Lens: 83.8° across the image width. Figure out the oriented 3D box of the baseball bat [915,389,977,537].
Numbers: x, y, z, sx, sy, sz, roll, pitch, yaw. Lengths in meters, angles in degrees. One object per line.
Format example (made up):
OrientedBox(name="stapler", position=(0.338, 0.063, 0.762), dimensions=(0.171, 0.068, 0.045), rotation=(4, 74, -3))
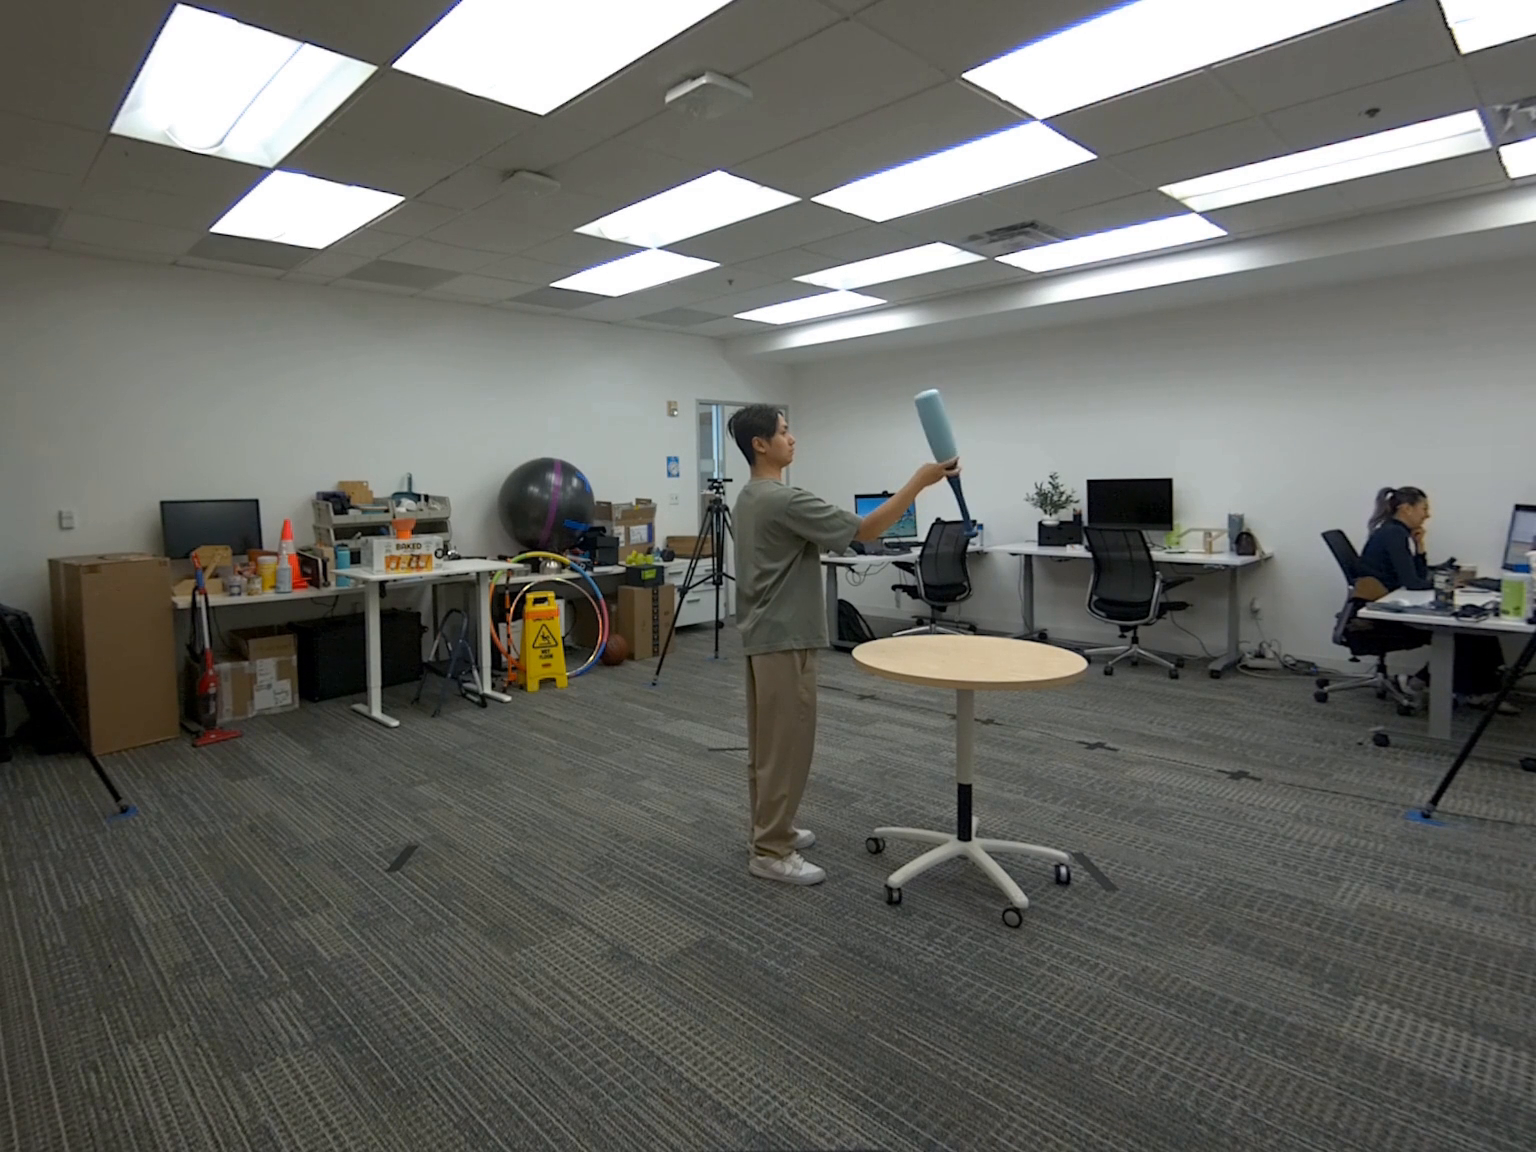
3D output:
OrientedBox(name="baseball bat", position=(0.626, -0.376, 2.946), dimensions=(0.089, 0.533, 0.090), rotation=(-19, 15, 4))
